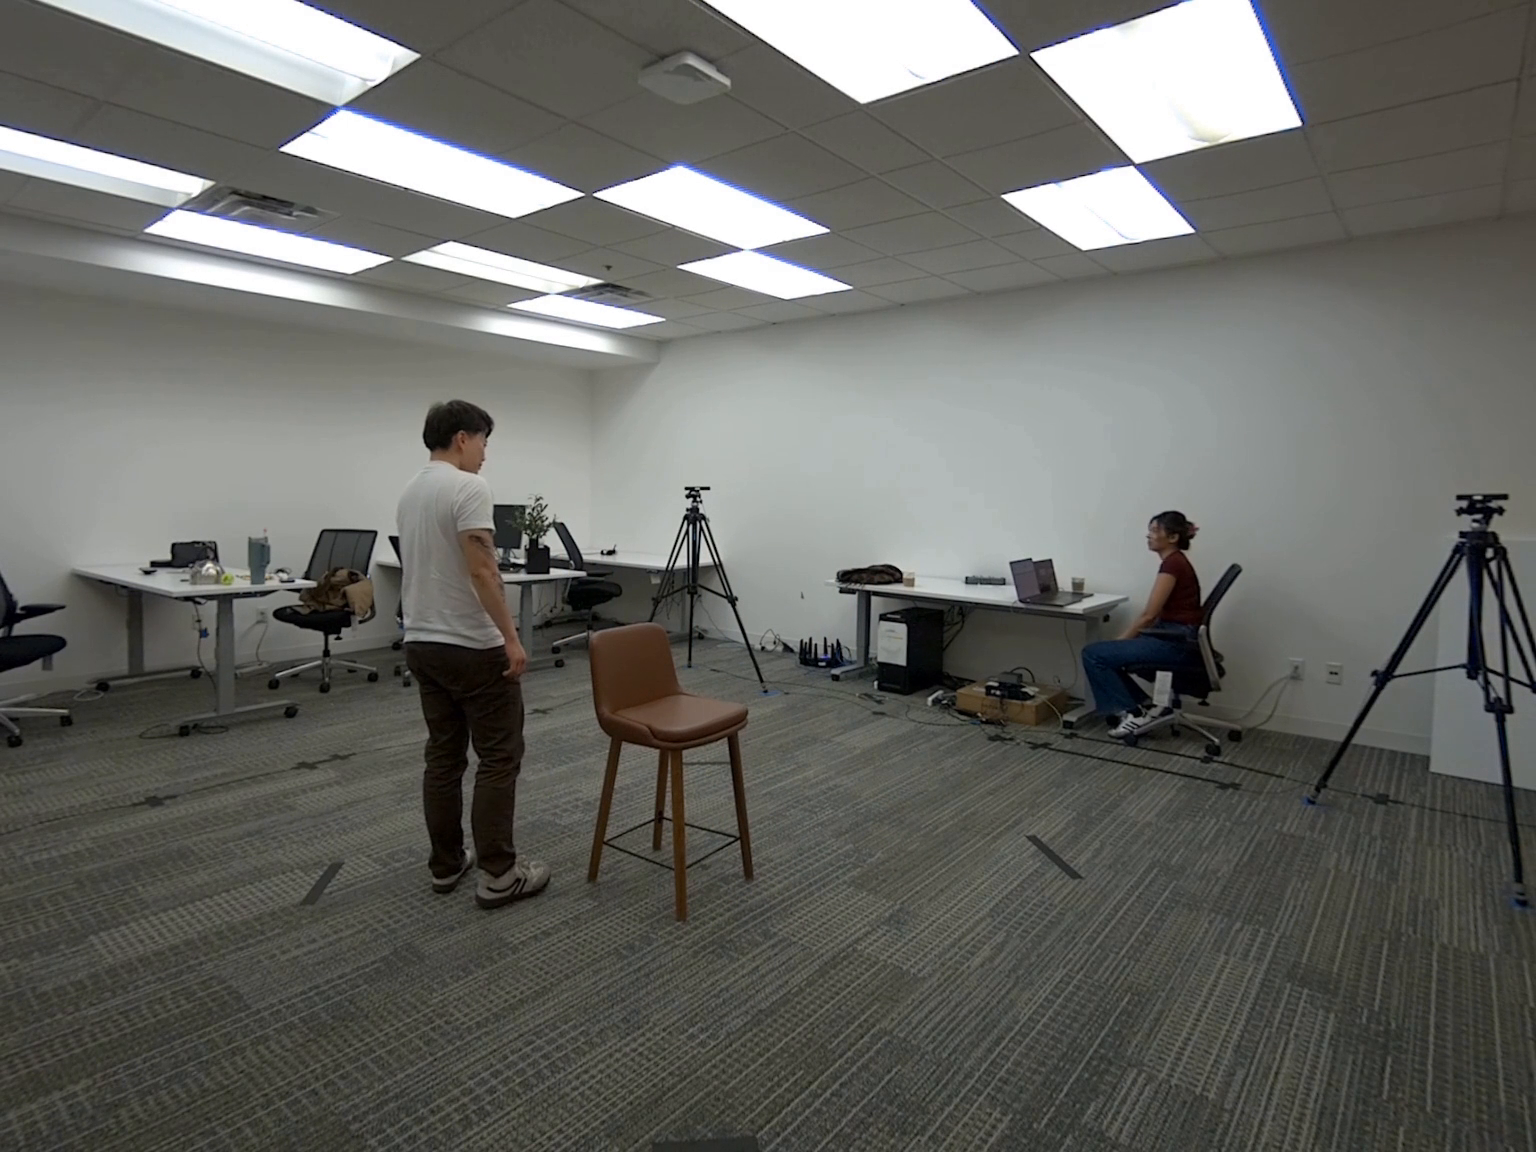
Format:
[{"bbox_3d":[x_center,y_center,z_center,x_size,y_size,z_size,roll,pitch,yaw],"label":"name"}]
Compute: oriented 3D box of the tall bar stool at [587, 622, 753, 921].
[{"bbox_3d":[-0.362,0.638,2.991,0.482,0.889,0.443,0,2,35],"label":"tall bar stool"}]
